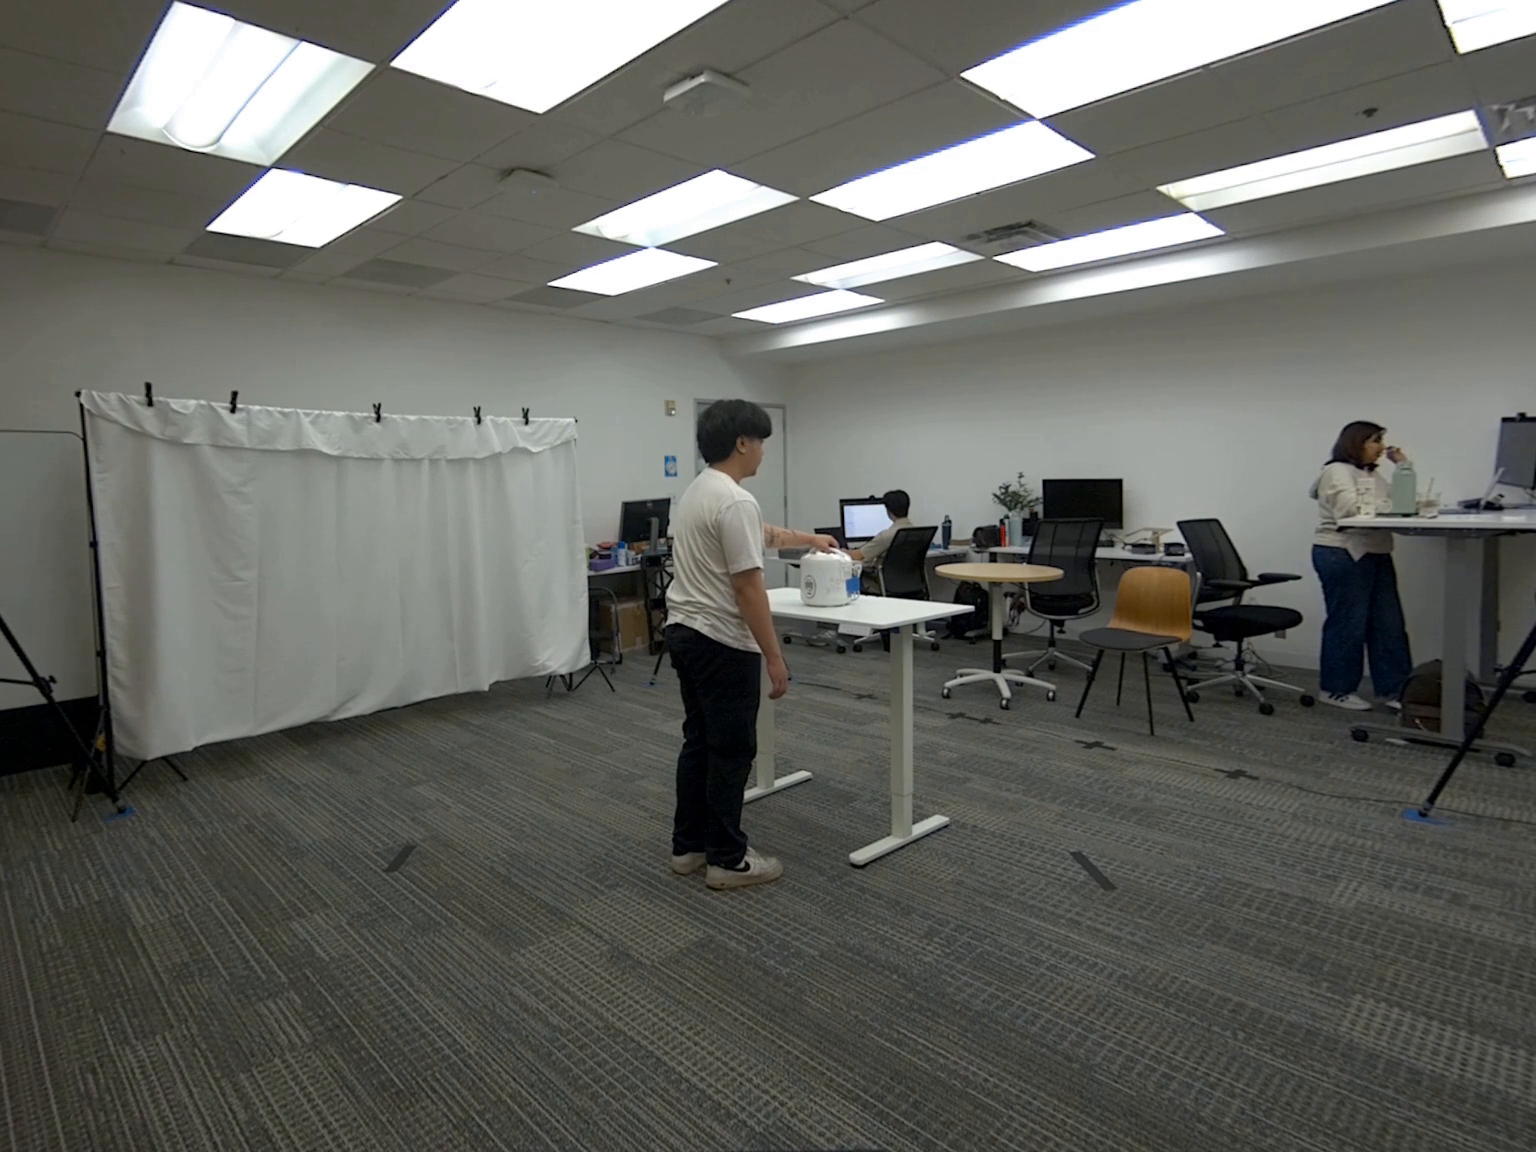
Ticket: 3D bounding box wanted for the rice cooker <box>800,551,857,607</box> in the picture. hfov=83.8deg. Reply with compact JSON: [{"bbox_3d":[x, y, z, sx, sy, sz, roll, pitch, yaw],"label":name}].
[{"bbox_3d":[0.240,0.001,3.441,0.227,0.232,0.211,2,4,44],"label":"rice cooker"}]
